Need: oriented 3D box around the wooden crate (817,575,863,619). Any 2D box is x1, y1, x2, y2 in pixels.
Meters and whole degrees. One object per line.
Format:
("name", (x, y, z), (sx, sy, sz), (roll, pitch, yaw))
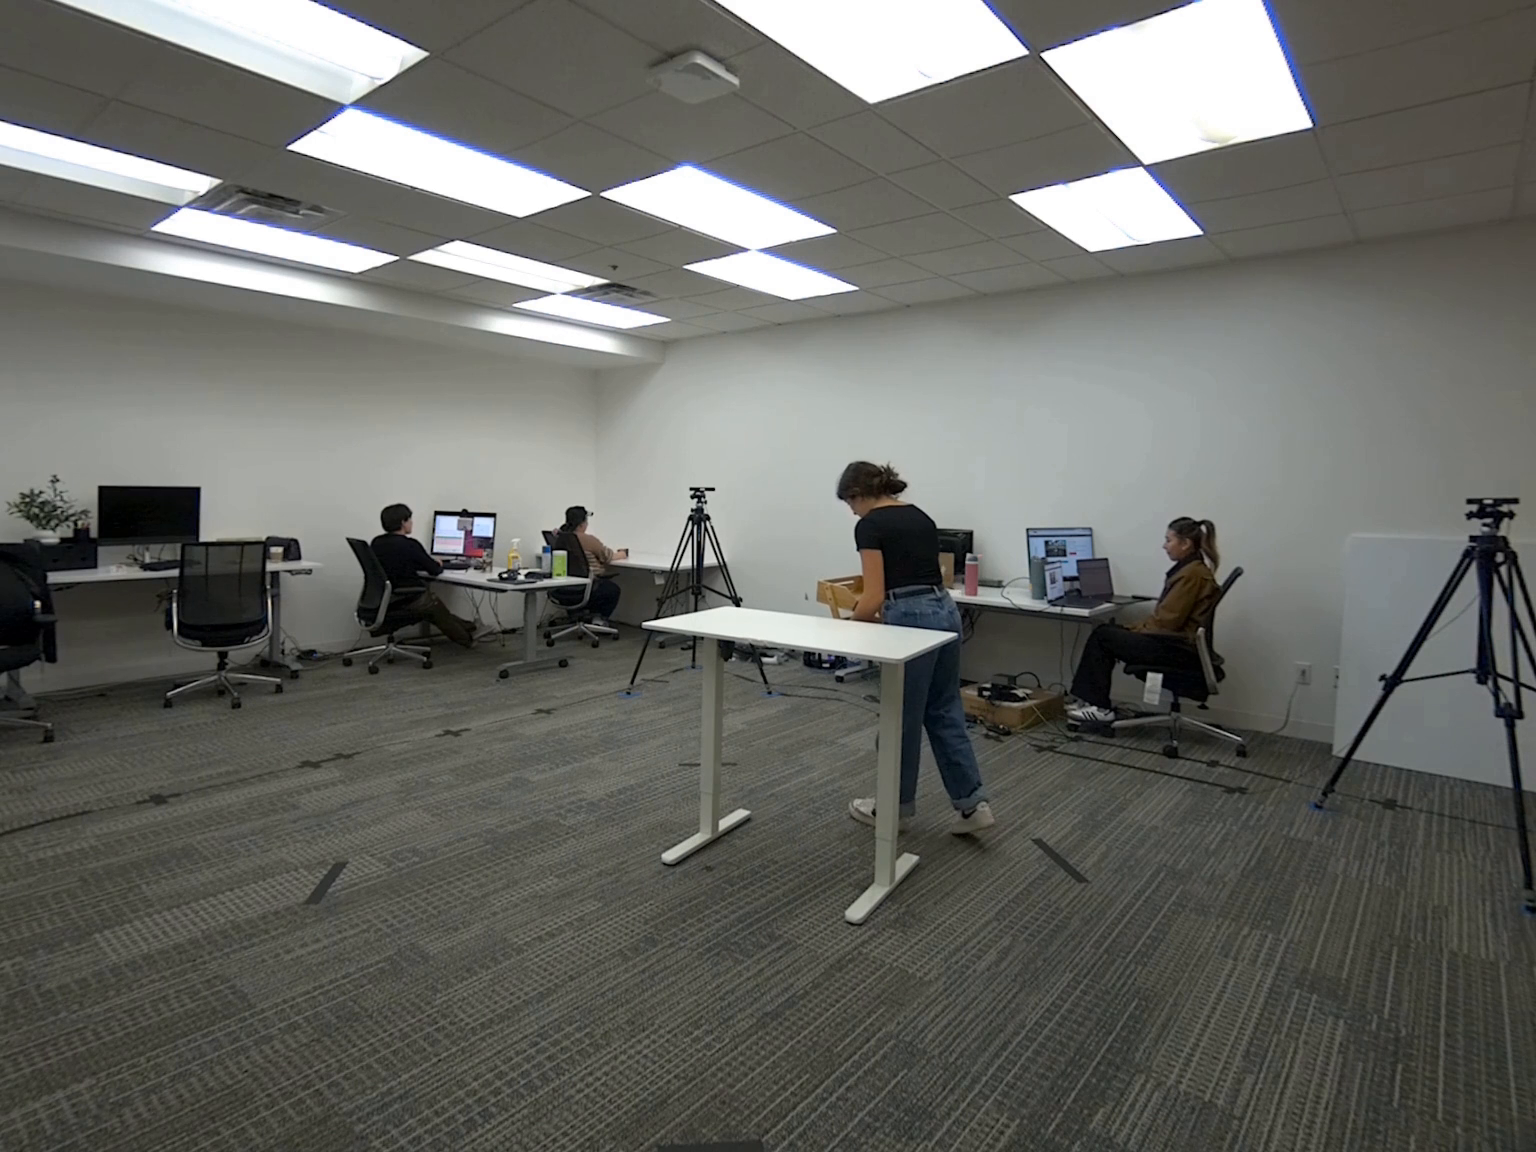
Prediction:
("wooden crate", (0.419, 0.152, 3.639), (0.313, 0.271, 0.315), (12, 12, 43))
